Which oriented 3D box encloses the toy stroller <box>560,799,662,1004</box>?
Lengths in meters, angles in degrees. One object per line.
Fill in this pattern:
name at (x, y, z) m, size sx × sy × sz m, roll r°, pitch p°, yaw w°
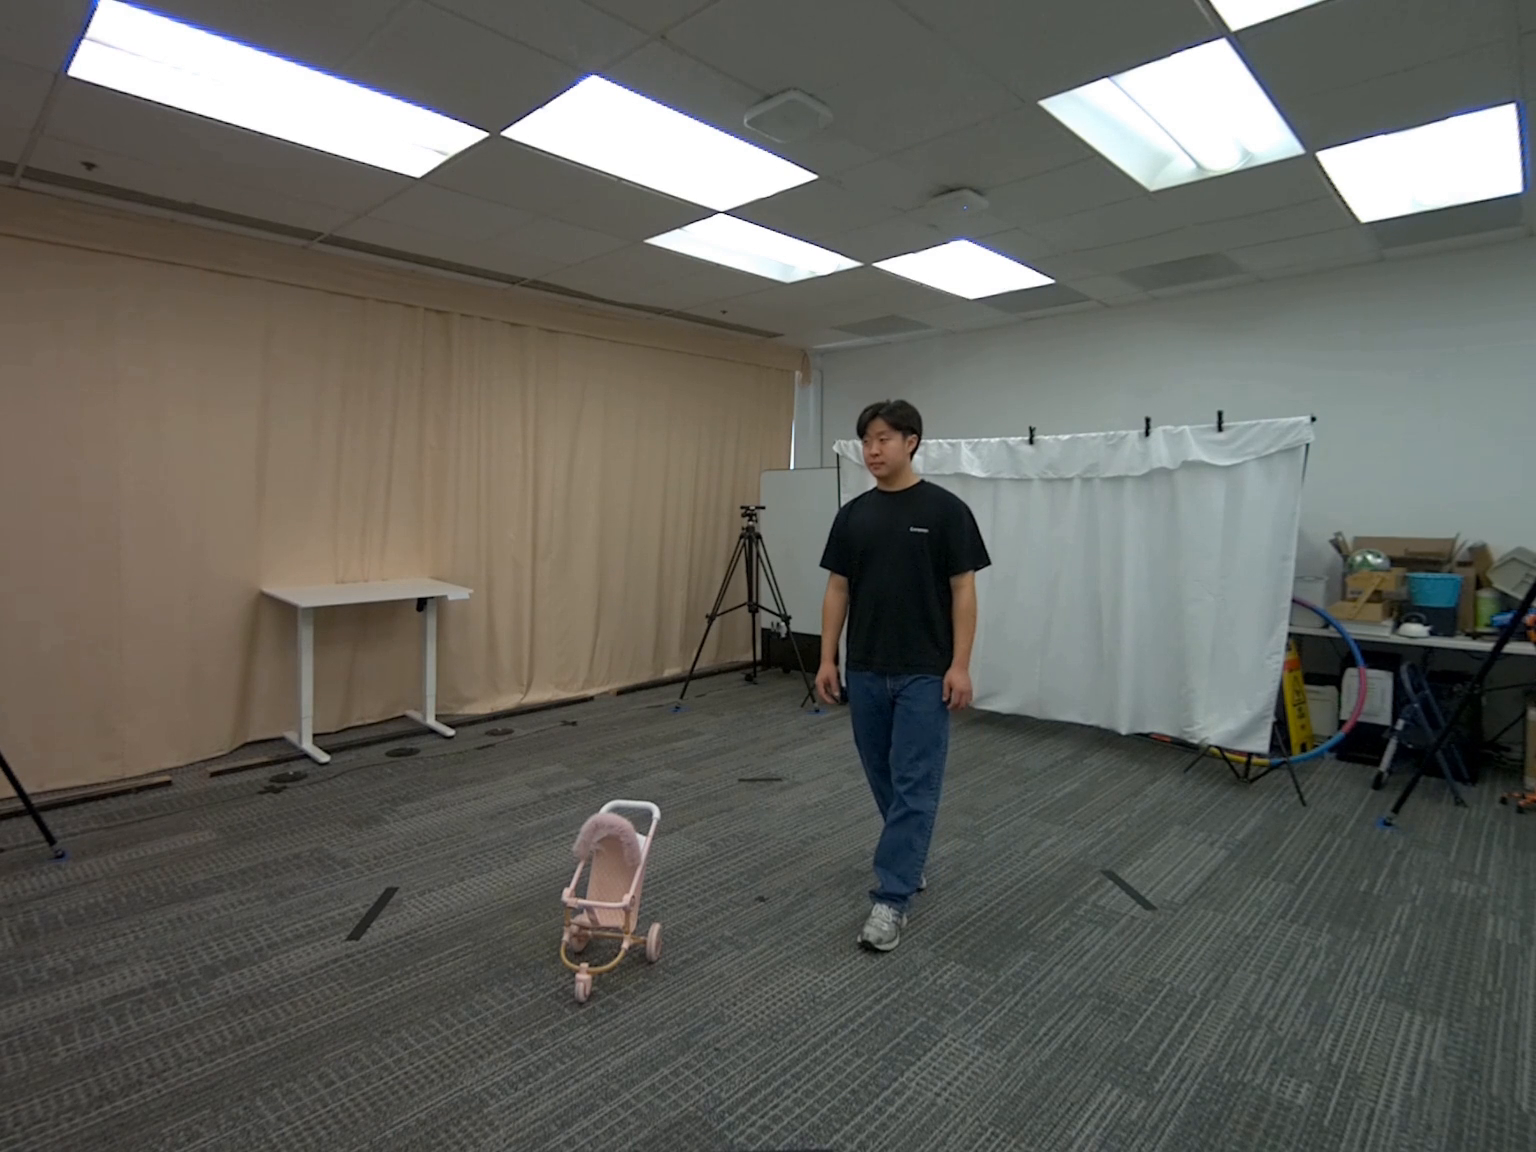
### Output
toy stroller at (-0.486, 0.963, 2.542) m, size 0.287 × 0.538 × 0.333 m, roll 0°, pitch -13°, yaw 17°
